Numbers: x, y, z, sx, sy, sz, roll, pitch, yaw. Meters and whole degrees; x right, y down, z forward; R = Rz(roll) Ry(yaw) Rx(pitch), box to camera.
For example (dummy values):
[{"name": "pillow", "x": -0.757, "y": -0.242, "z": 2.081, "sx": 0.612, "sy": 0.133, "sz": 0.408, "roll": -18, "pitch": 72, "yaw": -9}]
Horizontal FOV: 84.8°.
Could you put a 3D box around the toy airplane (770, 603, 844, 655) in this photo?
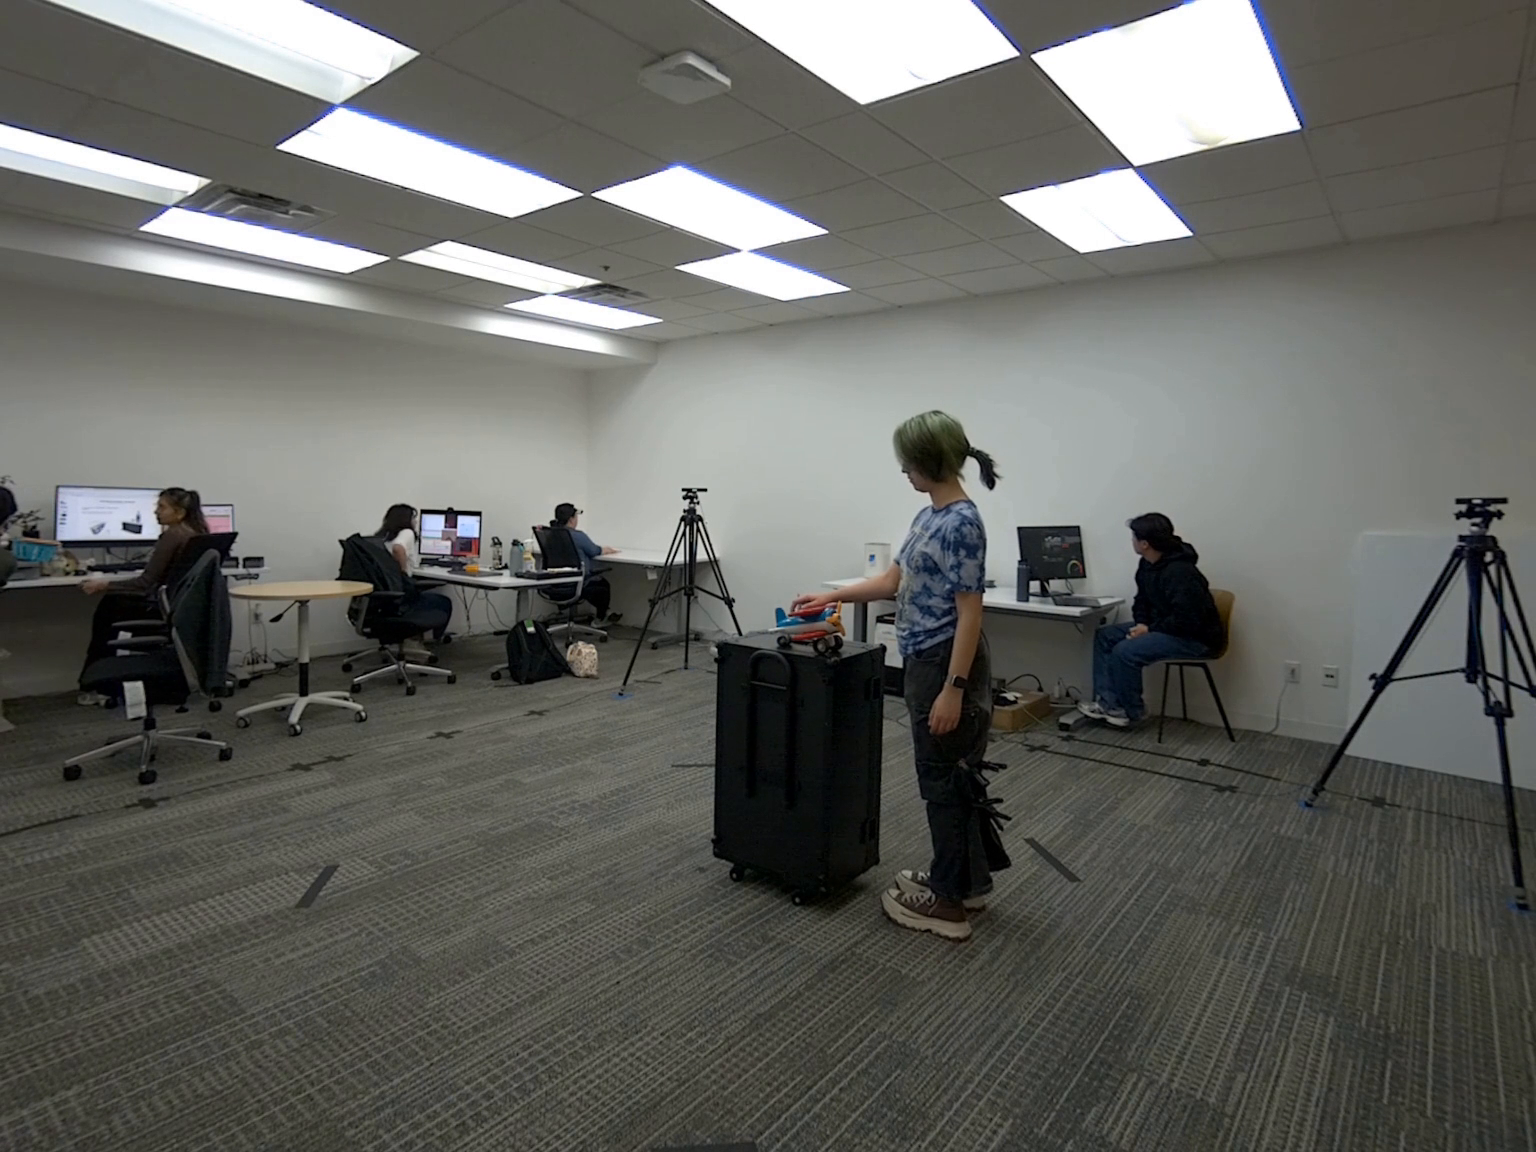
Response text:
[{"name": "toy airplane", "x": 0.125, "y": 0.174, "z": 2.883, "sx": 0.262, "sy": 0.155, "sz": 0.250, "roll": 3, "pitch": 7, "yaw": 9}]
